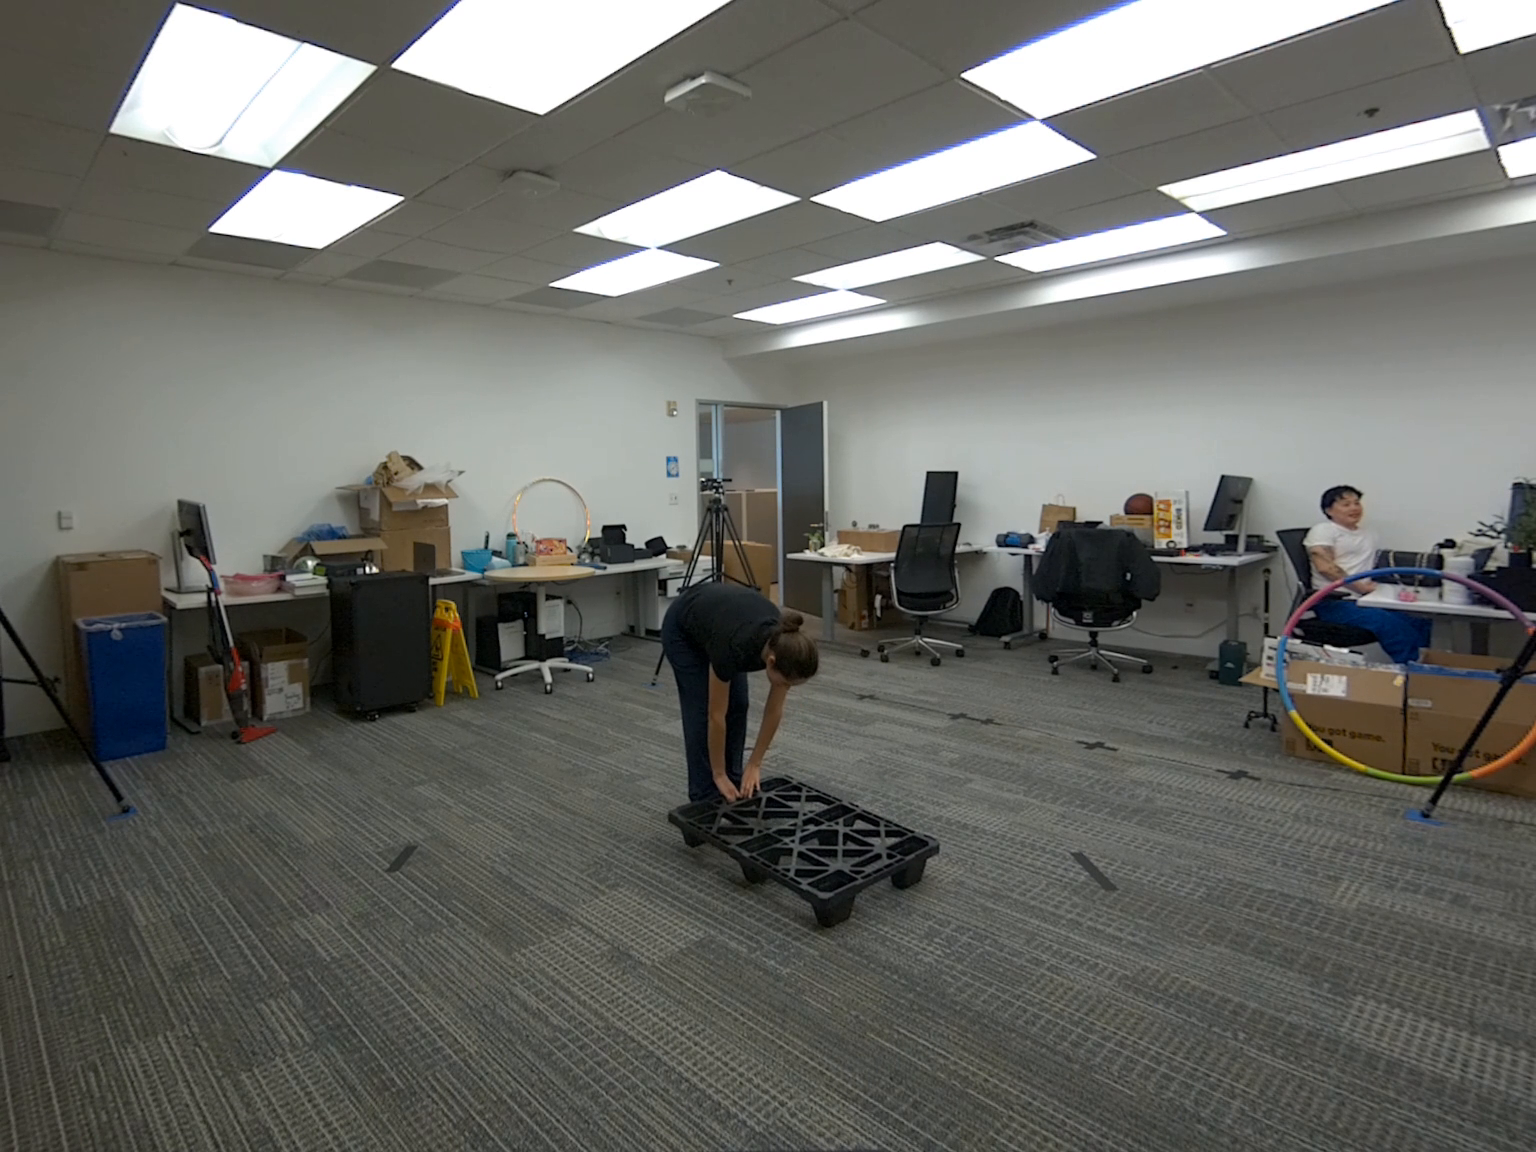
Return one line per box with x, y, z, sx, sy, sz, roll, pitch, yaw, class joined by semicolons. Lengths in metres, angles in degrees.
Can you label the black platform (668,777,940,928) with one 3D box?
0.110;0.964;3.072;0.590;0.142;0.832;-7;11;-41;black platform
